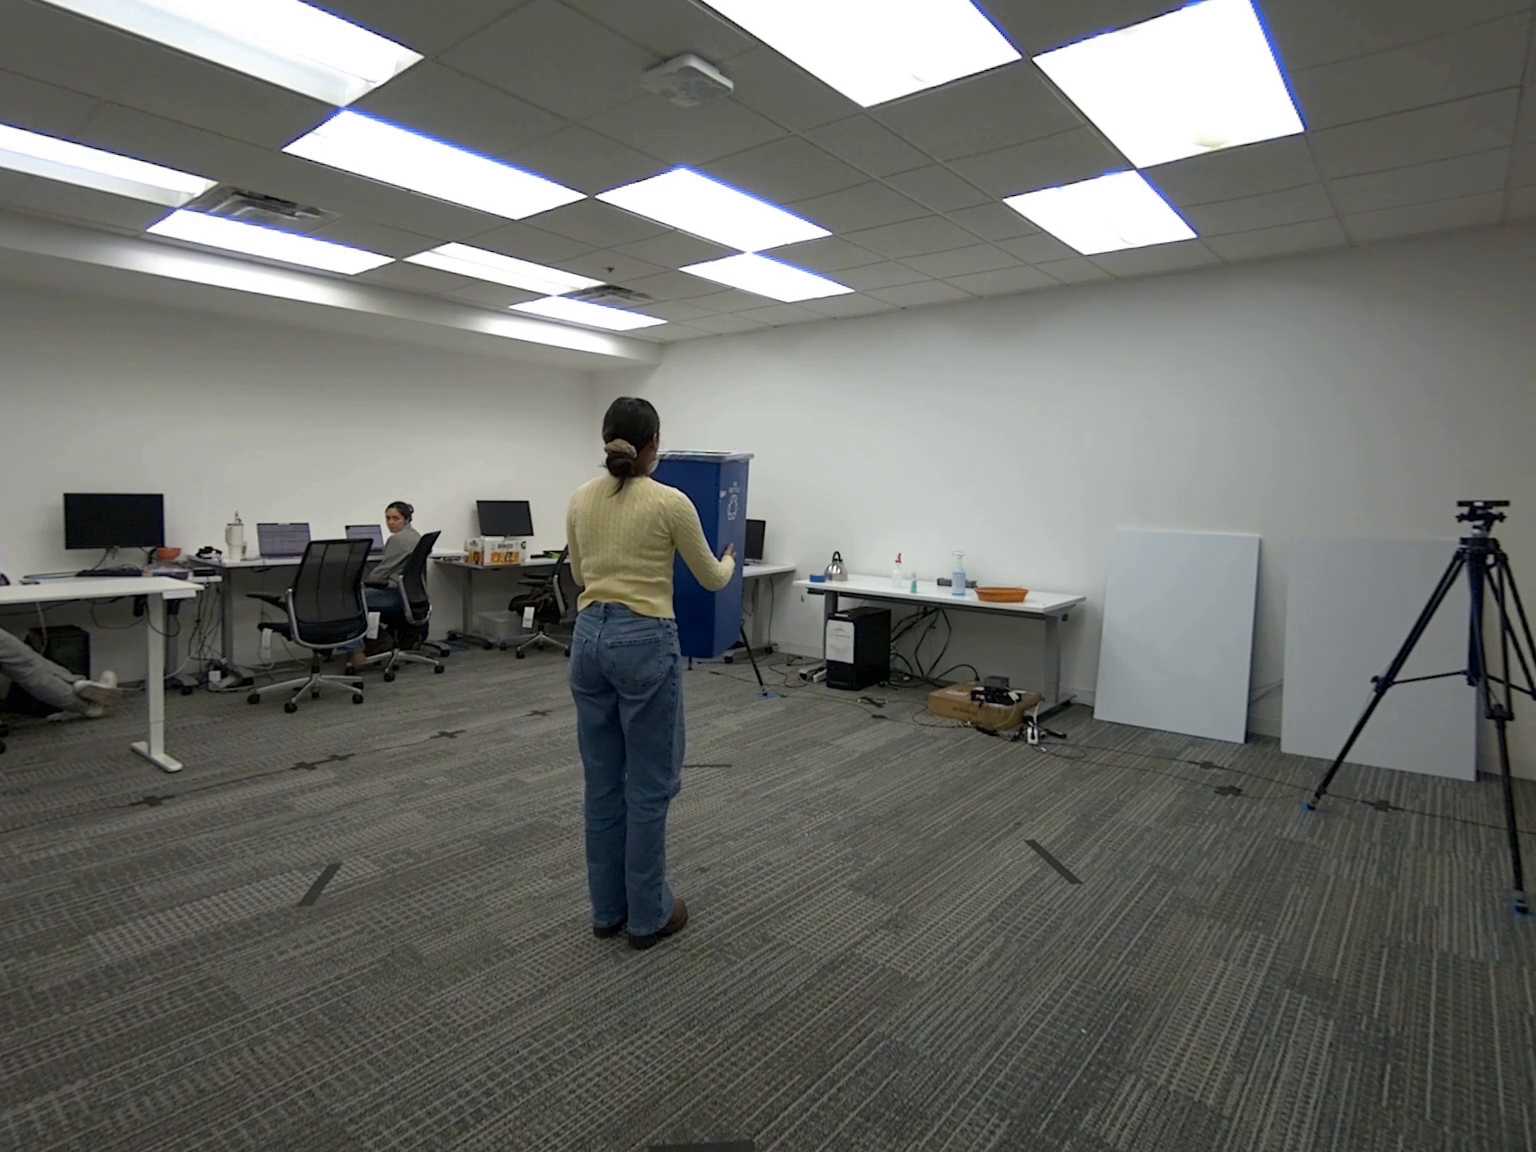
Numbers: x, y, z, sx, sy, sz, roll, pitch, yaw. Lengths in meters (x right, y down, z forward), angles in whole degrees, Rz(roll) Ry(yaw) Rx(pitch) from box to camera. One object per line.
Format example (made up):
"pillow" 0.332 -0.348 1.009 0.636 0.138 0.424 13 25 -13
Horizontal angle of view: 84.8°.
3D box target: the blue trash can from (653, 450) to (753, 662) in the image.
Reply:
"blue trash can" -0.291 -0.095 3.109 0.386 0.708 0.369 4 9 17
